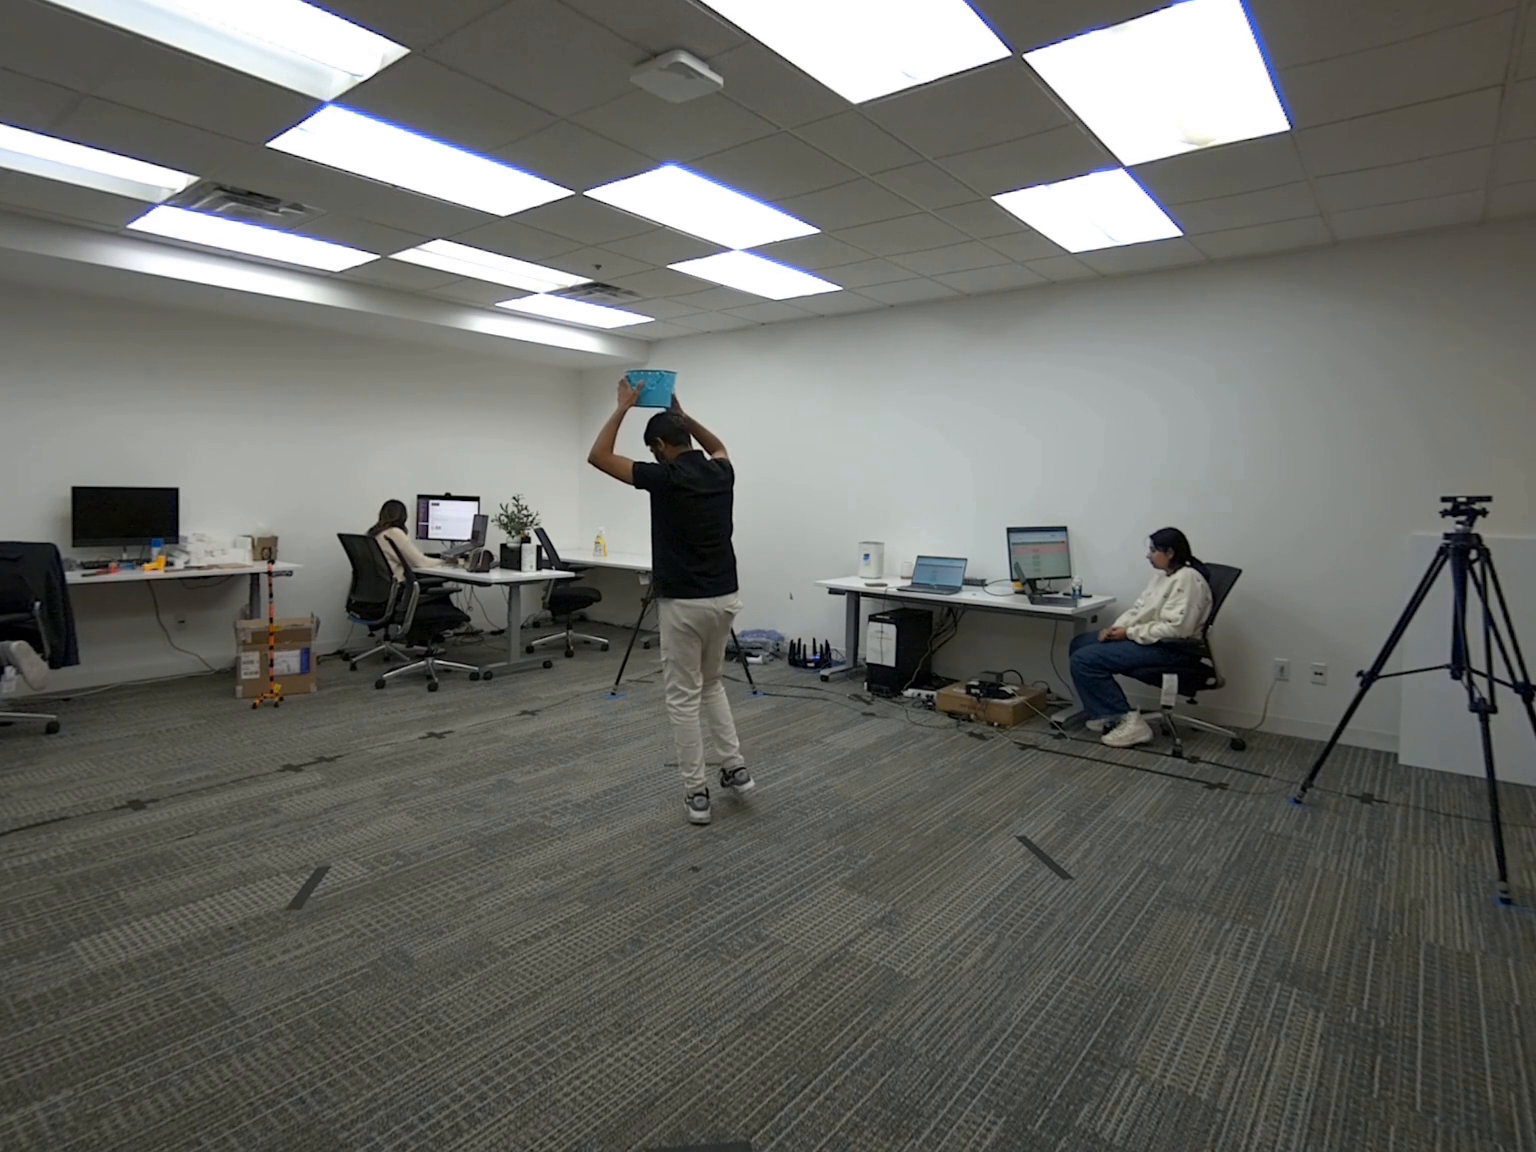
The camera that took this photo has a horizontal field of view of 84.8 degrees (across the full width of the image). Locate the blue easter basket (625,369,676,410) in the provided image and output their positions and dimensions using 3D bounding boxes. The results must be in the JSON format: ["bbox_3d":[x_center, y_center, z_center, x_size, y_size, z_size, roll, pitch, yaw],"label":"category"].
[{"bbox_3d":[-0.531,-0.826,3.742,0.243,0.155,0.245,-2,6,-2],"label":"blue easter basket"}]
